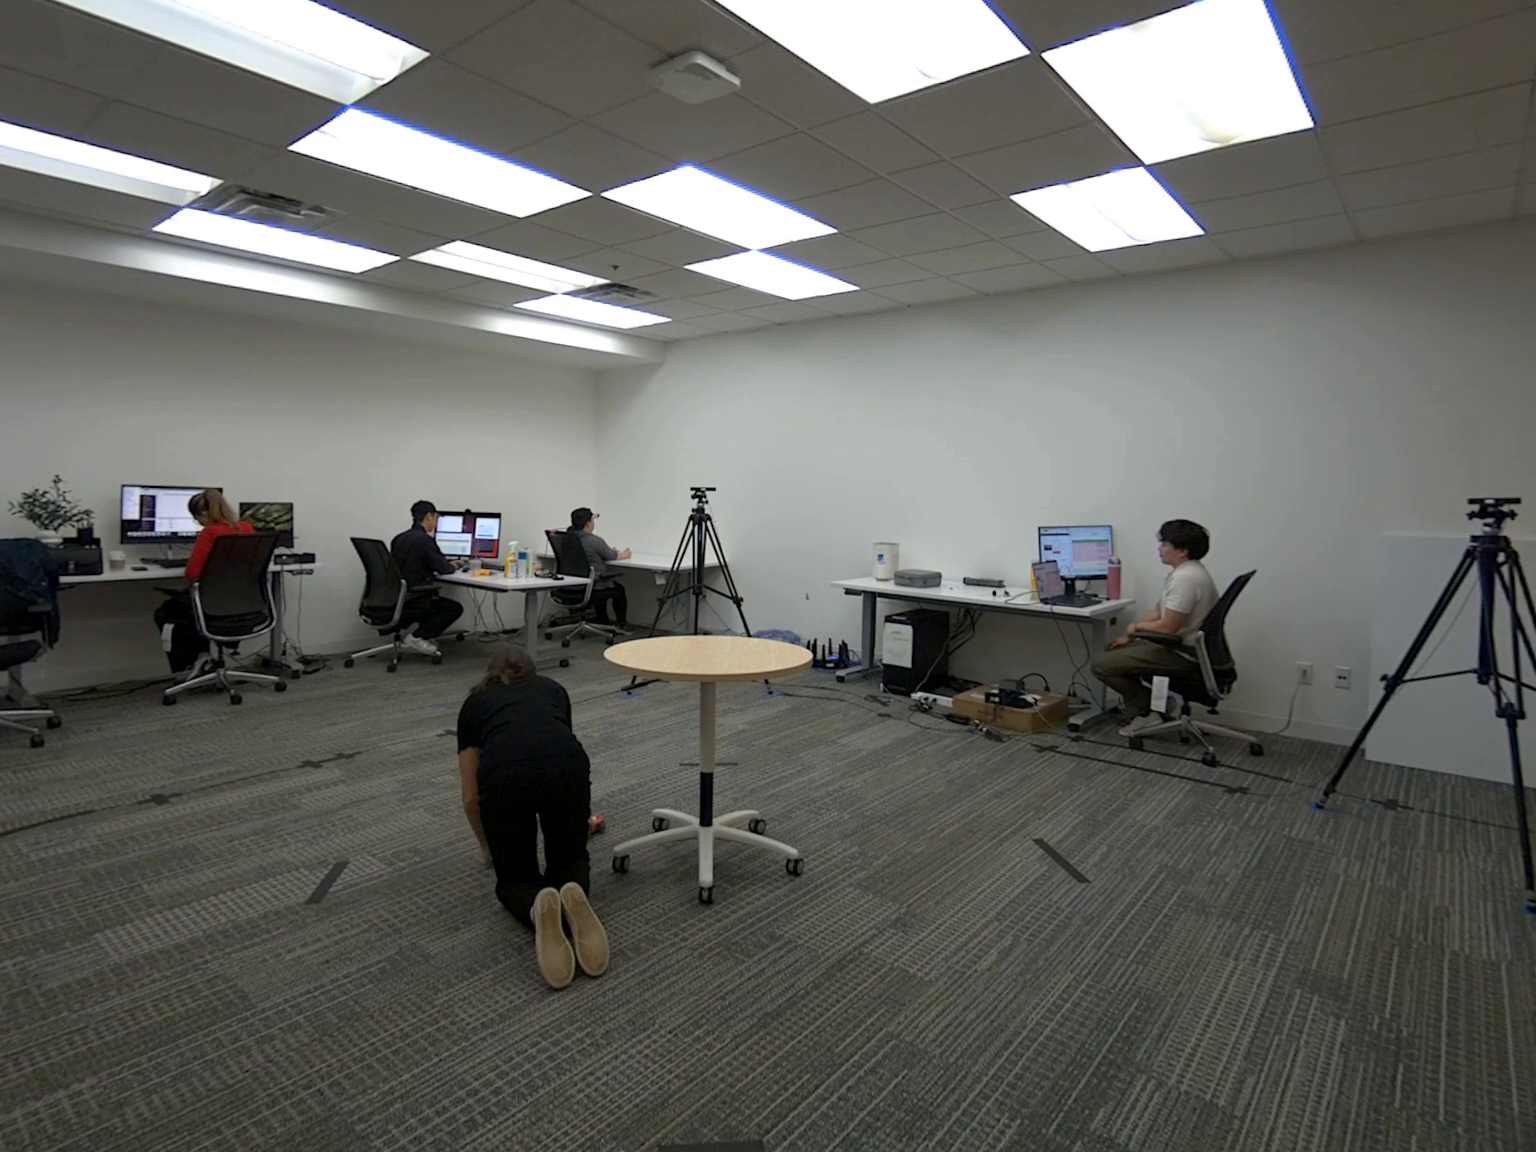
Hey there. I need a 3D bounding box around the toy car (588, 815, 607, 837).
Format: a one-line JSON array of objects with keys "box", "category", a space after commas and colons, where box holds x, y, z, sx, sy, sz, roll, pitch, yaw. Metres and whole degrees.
[{"box": [-0.775, 1.001, 3.363, 0.134, 0.084, 0.246, 3, -6, 26], "category": "toy car"}]
